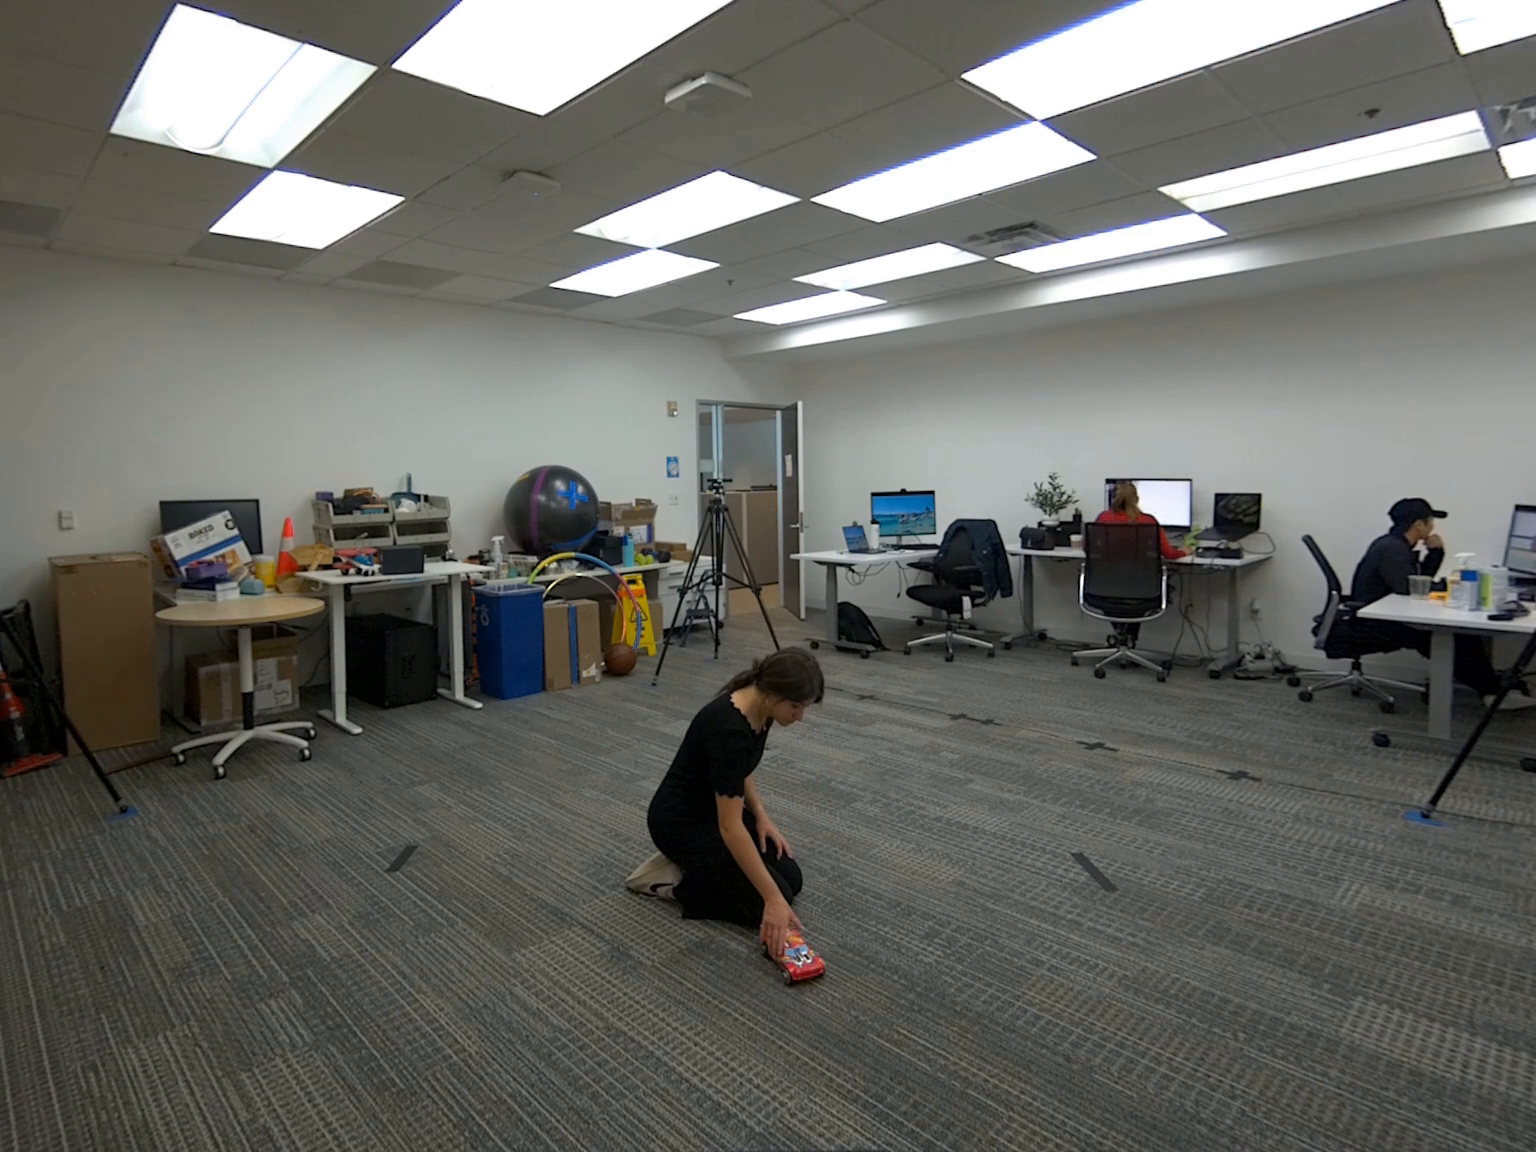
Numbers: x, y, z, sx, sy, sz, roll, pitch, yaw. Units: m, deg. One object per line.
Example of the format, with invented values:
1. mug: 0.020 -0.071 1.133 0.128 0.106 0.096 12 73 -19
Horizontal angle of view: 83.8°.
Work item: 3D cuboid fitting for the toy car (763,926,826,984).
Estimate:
1. toy car: 0.058 1.091 2.468 0.128 0.082 0.262 -5 17 -22
